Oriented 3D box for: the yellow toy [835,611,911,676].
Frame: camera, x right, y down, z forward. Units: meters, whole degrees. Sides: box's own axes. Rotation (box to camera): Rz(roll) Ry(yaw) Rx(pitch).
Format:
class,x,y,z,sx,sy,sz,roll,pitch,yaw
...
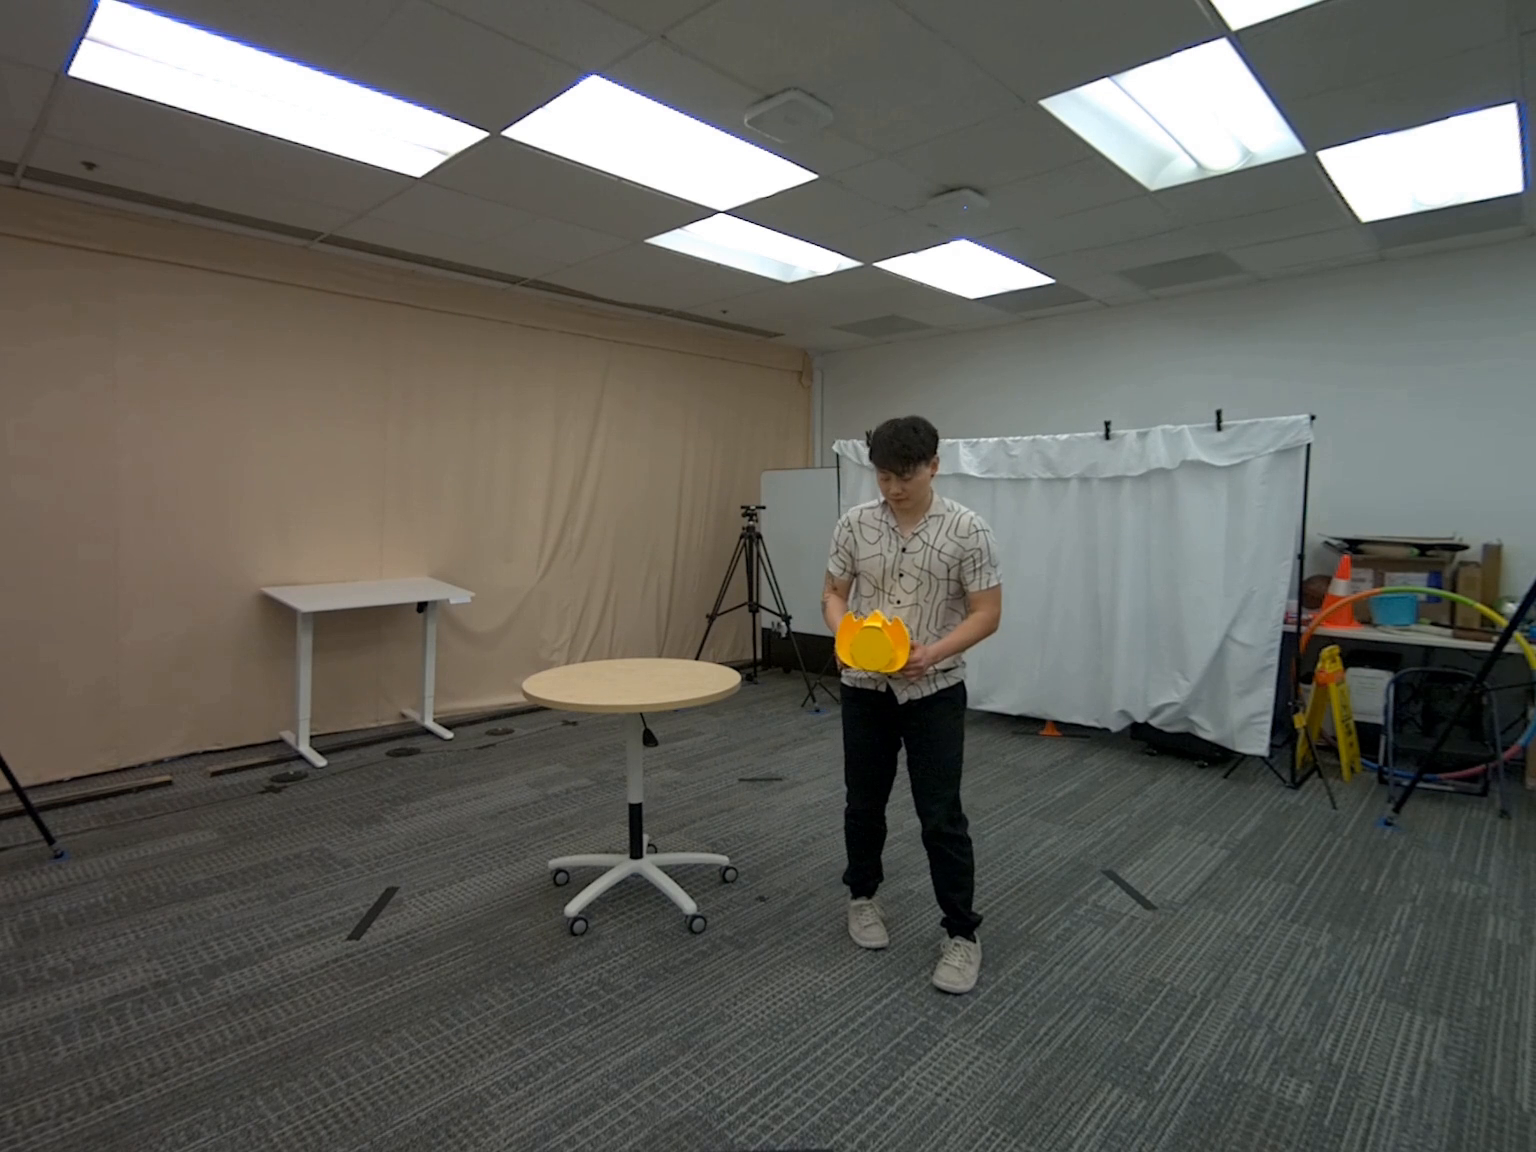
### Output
class,x,y,z,sx,sy,sz,roll,pitch,yaw
yellow toy,0.330,0.171,2.413,0.210,0.192,0.226,6,12,22
